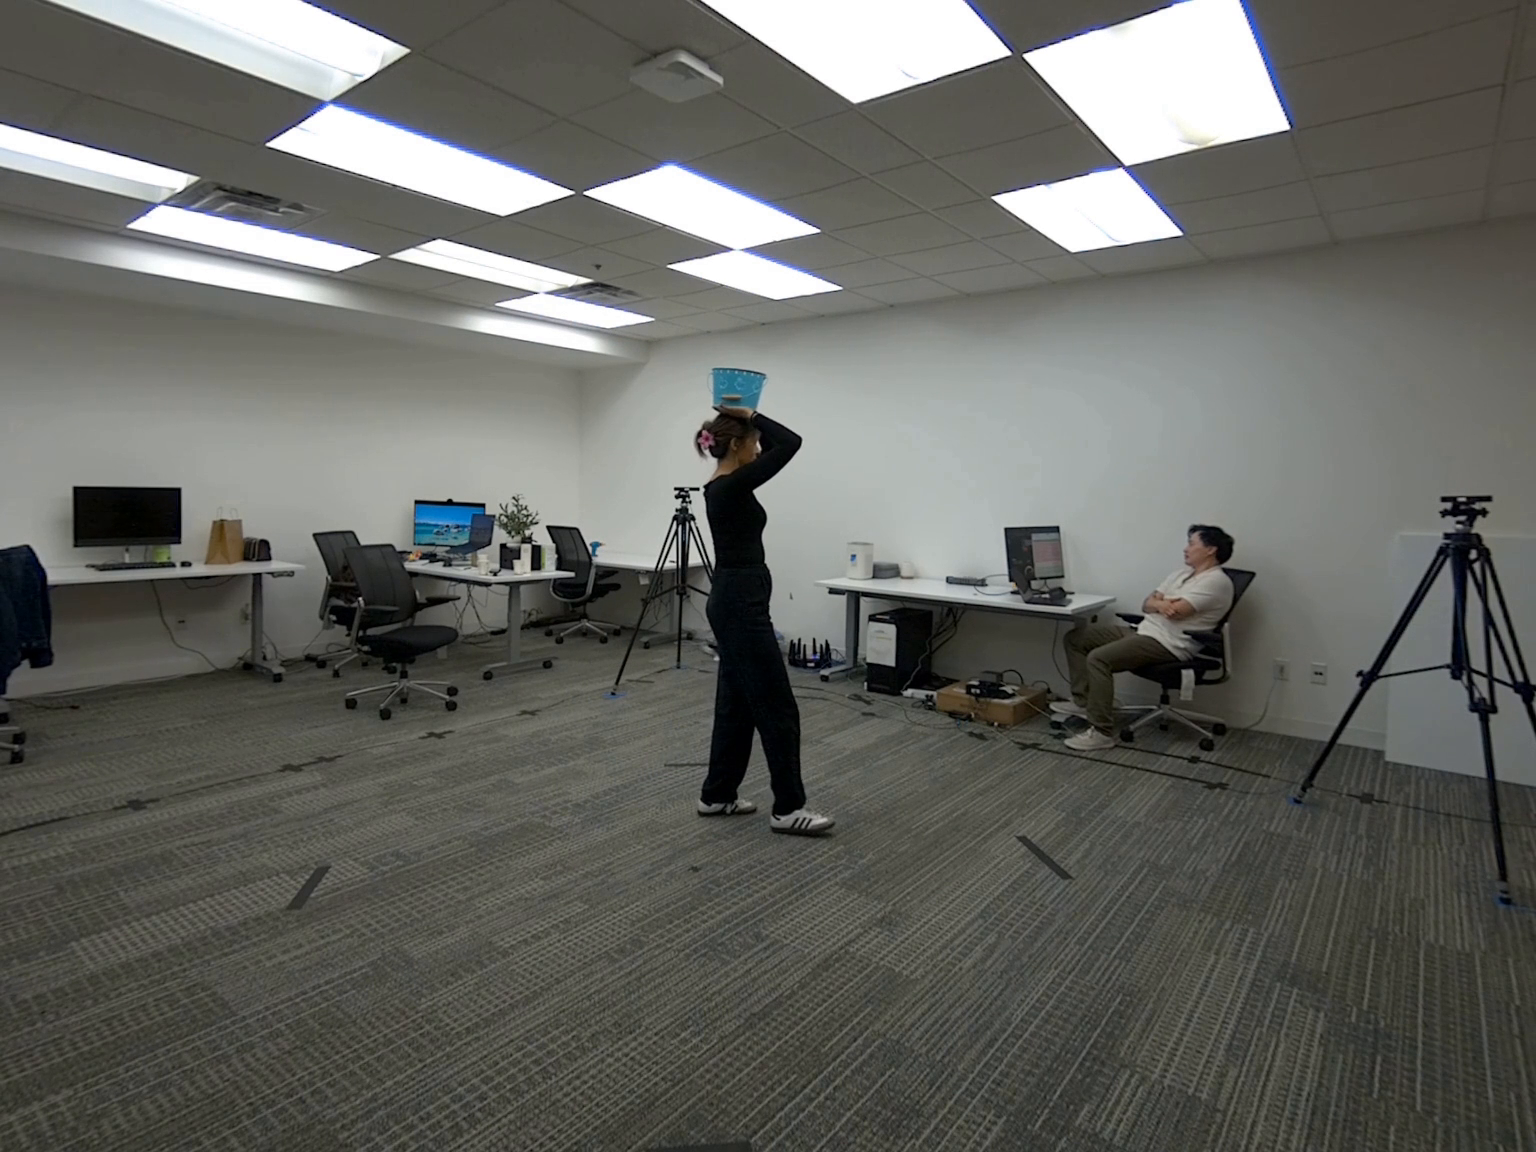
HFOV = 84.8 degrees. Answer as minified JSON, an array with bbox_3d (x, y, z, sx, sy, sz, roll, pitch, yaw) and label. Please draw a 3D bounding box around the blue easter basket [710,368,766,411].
[{"bbox_3d":[-0.139,-0.770,3.512,0.243,0.155,0.245,8,5,-2],"label":"blue easter basket"}]
